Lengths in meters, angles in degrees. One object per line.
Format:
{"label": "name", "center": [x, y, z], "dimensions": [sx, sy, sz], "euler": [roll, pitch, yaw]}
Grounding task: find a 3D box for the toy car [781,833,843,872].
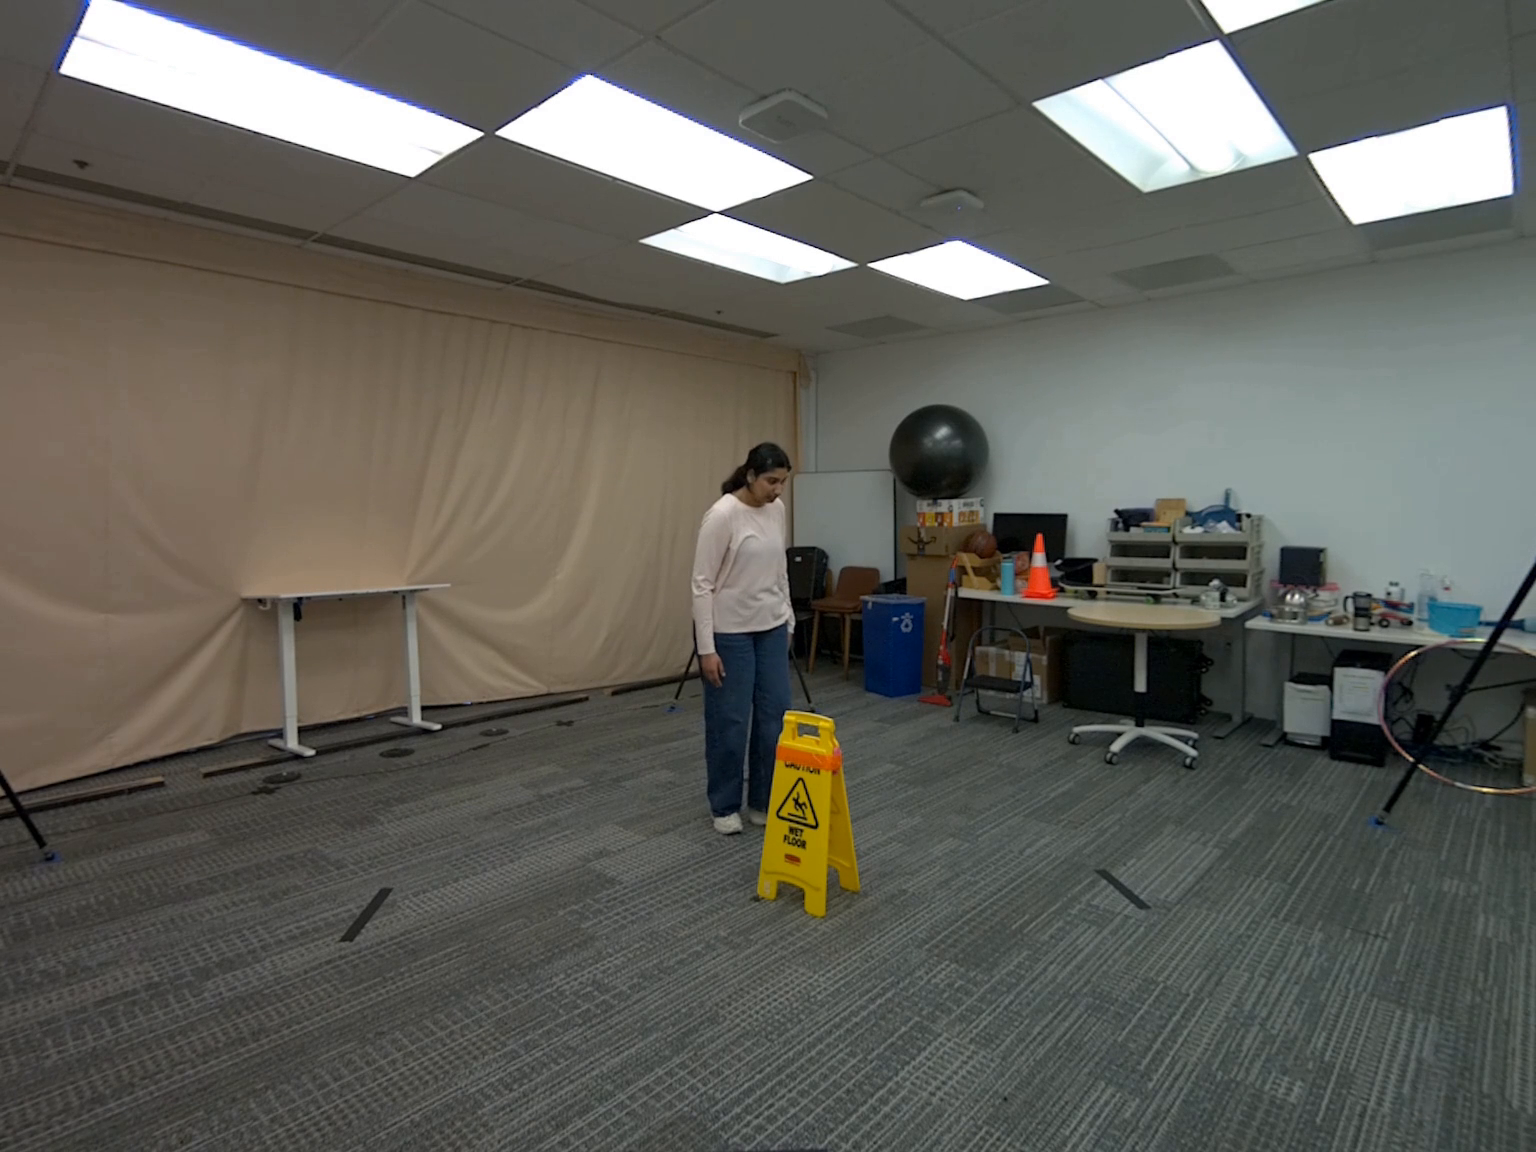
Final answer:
{"label": "toy car", "center": [0.173, 1.080, 3.329], "dimensions": [0.134, 0.083, 0.246], "euler": [2, -7, 32]}
